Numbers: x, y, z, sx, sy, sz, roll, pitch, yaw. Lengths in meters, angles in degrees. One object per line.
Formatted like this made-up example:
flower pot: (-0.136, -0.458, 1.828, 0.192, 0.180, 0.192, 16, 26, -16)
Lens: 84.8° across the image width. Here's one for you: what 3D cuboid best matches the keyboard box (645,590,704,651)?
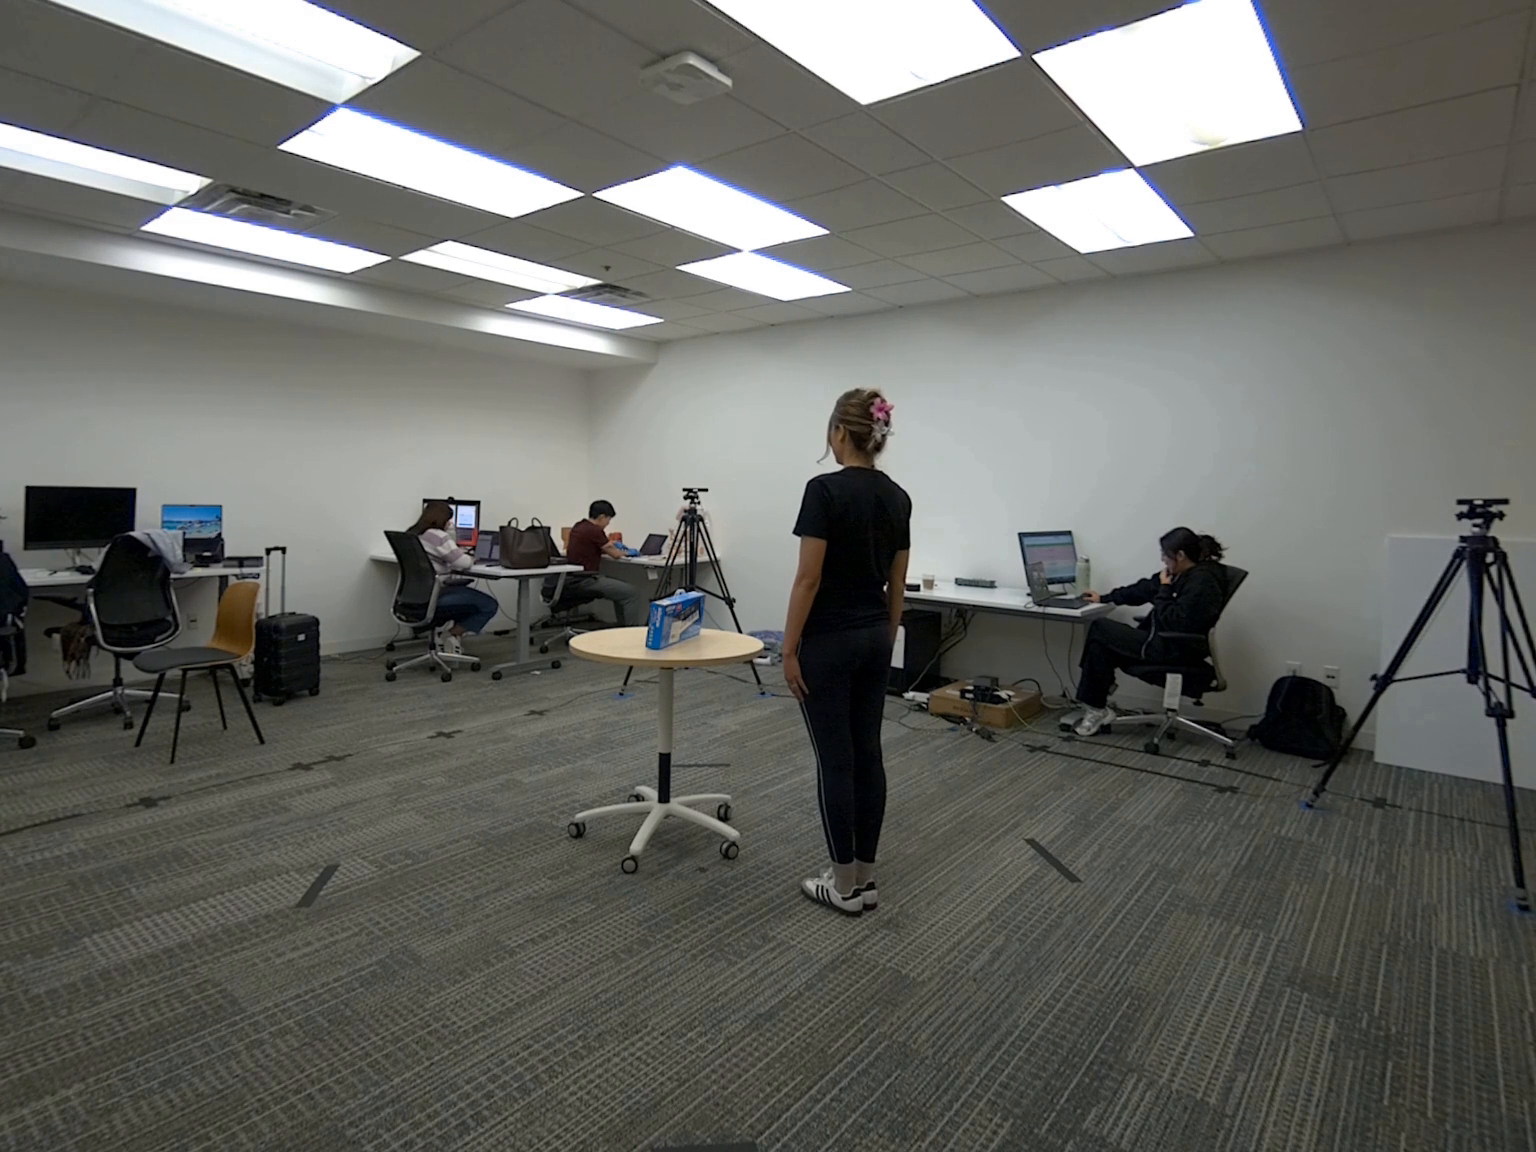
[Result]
keyboard box: (-0.369, 0.168, 3.376, 0.060, 0.175, 0.430, 9, 6, 14)
